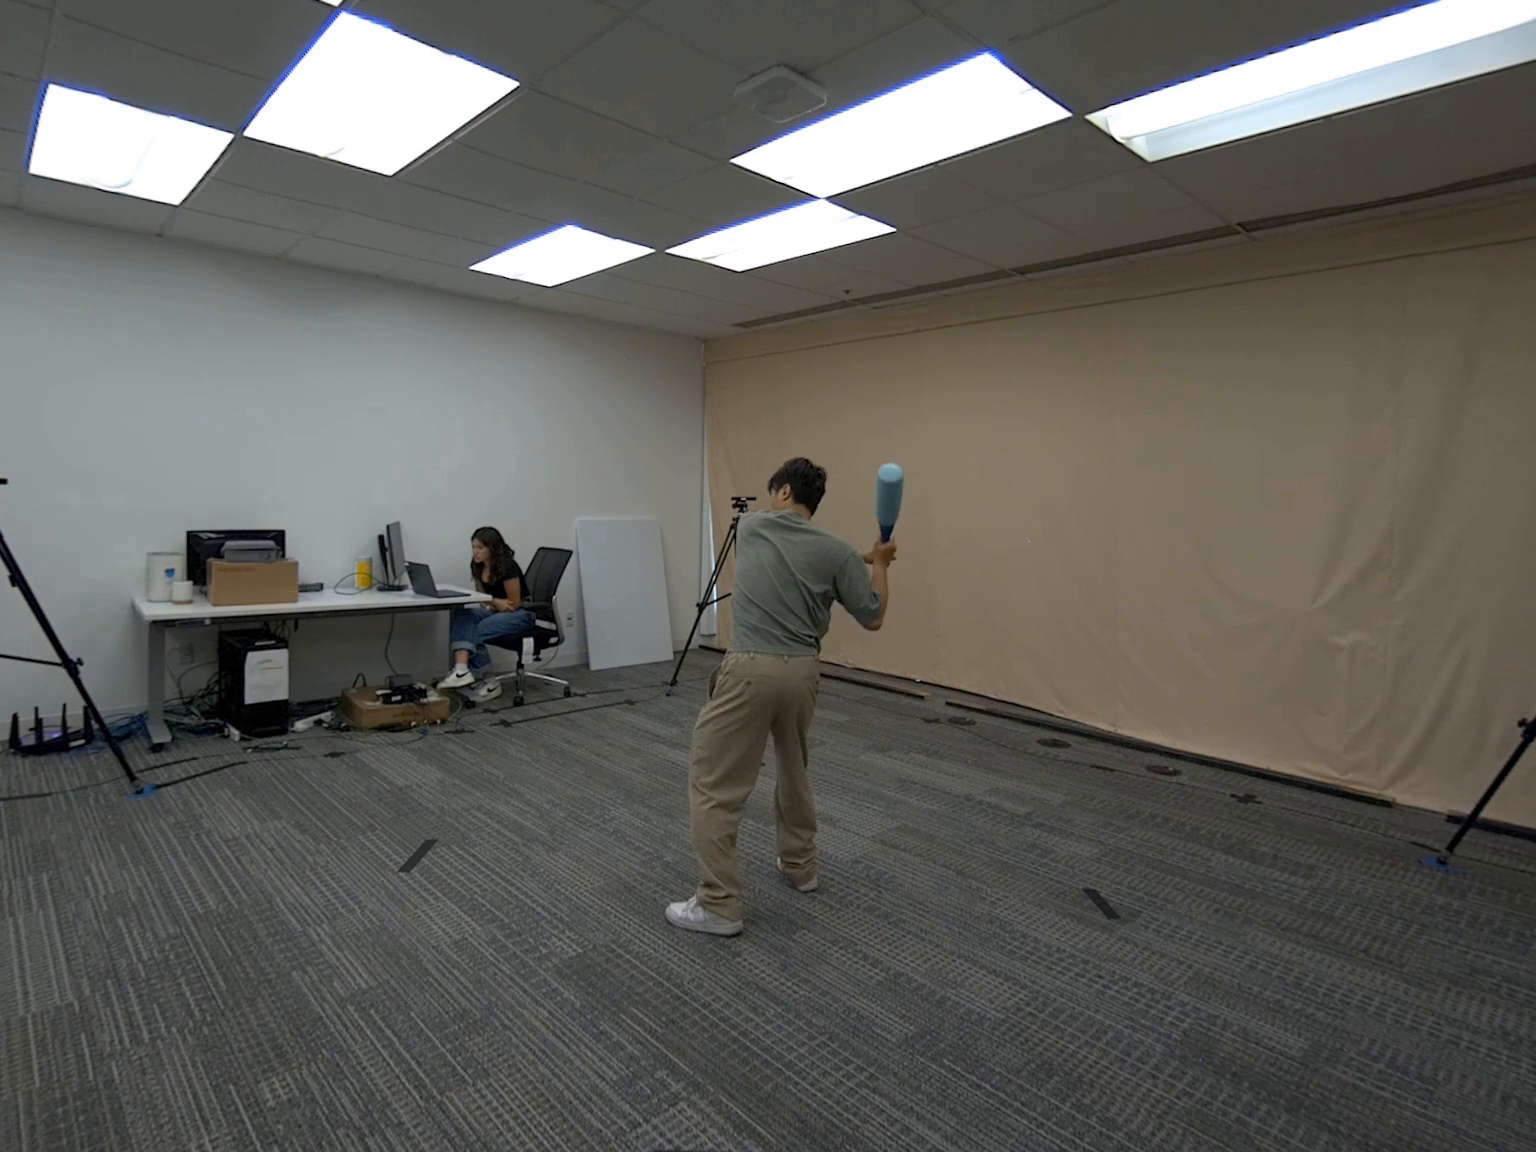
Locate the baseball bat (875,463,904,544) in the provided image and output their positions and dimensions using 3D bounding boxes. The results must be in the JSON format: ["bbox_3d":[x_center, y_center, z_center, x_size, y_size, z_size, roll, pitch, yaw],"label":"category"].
[{"bbox_3d":[0.400,-0.159,2.965,0.089,0.091,0.530,2,-36,5],"label":"baseball bat"}]
